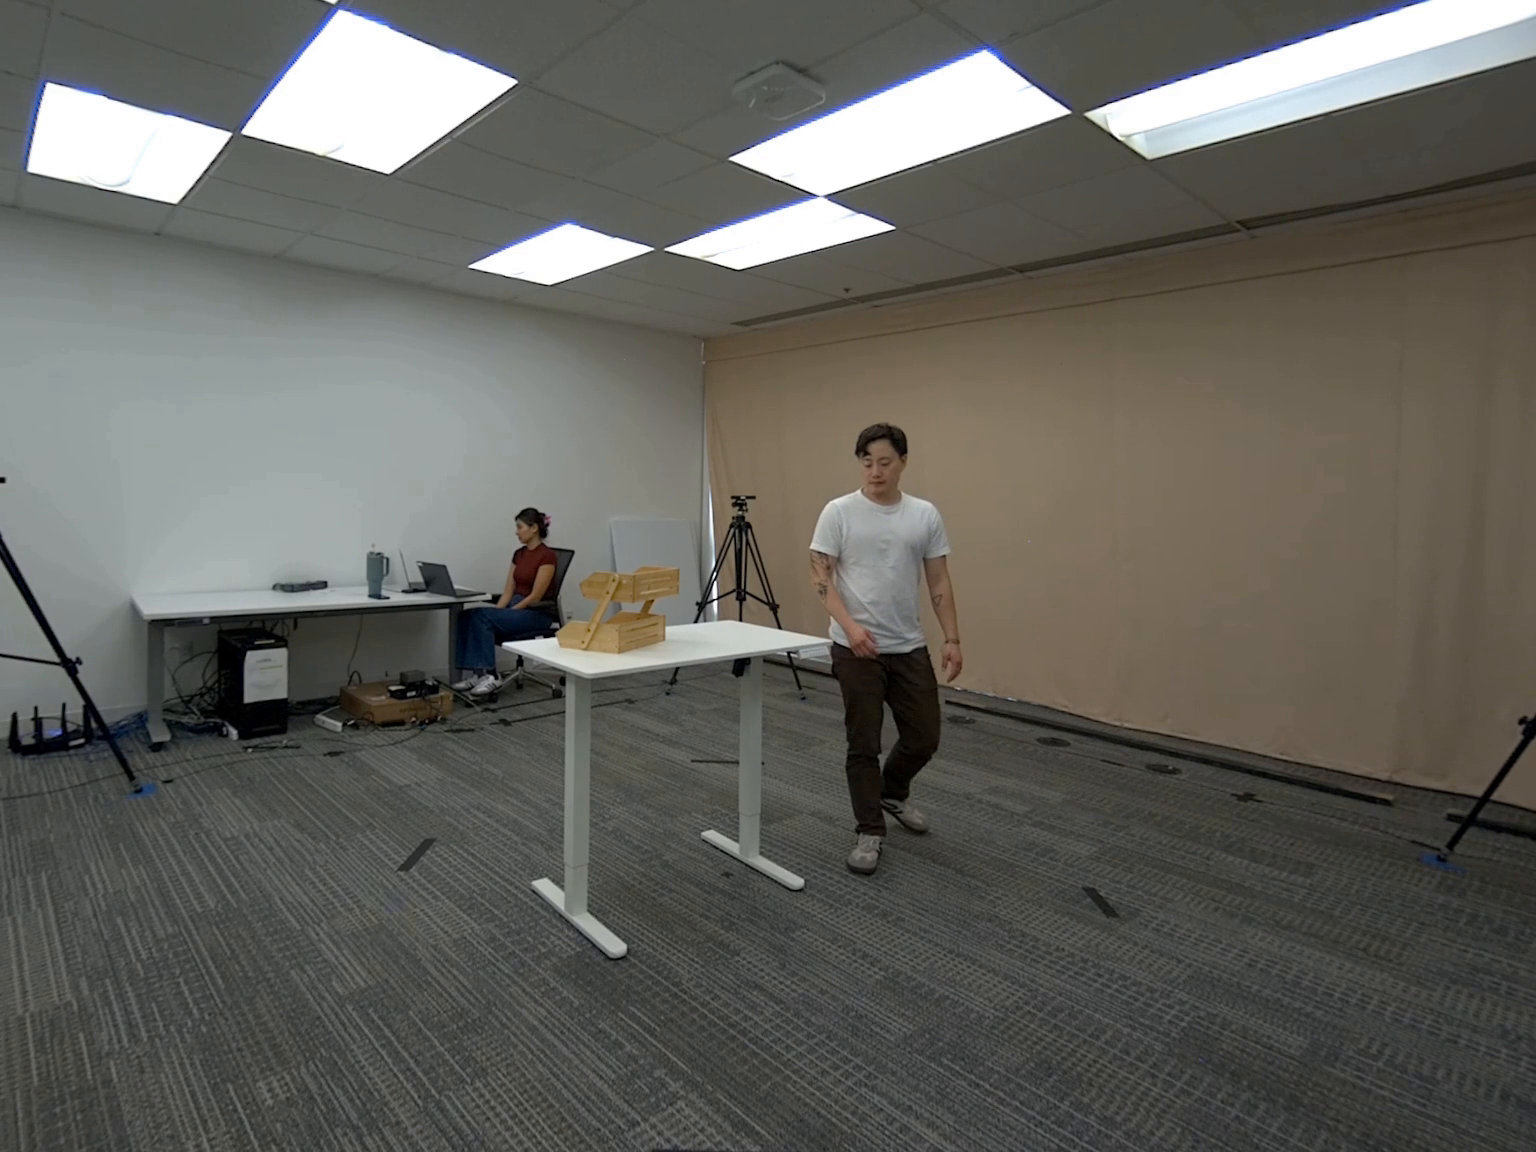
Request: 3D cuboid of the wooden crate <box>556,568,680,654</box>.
[{"bbox_3d":[-0.519,0.102,2.867,0.308,0.272,0.319,4,5,24],"label":"wooden crate"}]
